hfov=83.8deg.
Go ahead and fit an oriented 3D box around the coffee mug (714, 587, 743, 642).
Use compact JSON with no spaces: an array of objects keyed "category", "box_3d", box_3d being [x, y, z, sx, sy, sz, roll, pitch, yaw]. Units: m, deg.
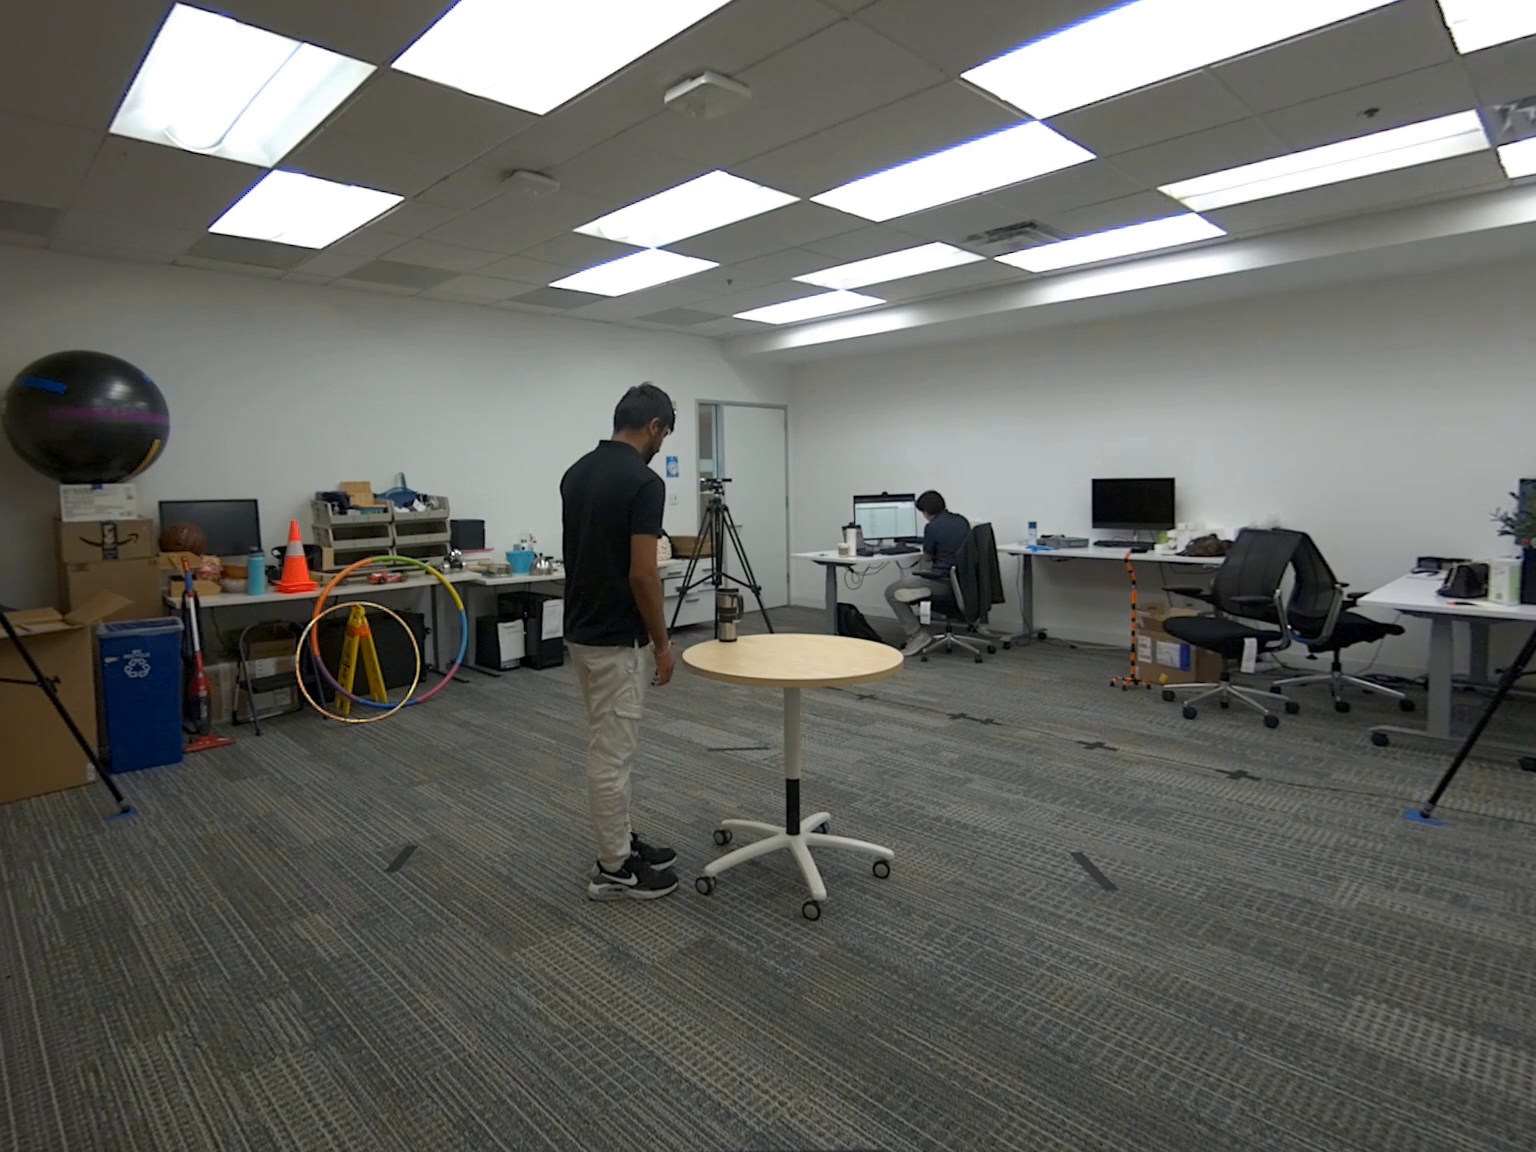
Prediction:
[{"category":"coffee mug","box_3d":[-0.161,0.147,3.214,0.090,0.202,0.119,7,7,37]}]
